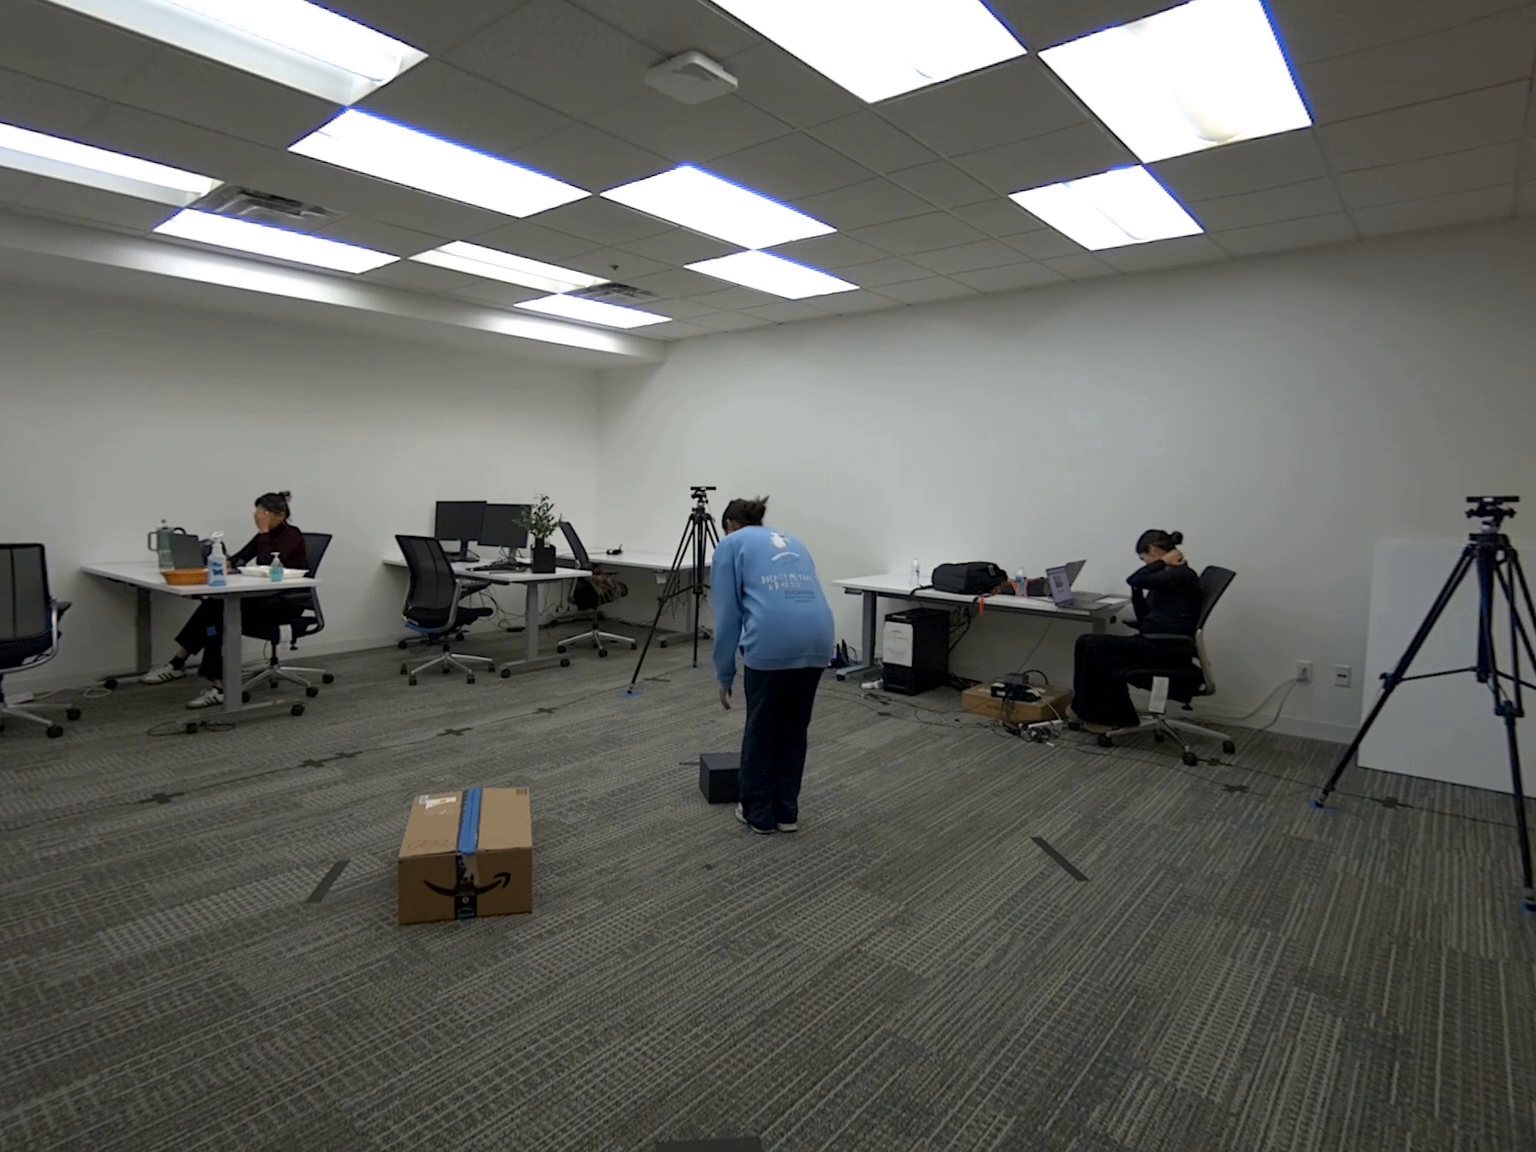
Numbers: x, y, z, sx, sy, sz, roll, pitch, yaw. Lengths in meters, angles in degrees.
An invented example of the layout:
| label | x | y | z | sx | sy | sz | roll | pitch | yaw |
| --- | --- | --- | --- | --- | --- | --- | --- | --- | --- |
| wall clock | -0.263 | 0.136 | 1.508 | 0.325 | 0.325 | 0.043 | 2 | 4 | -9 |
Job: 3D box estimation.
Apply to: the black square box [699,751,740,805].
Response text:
| label | x | y | z | sx | sy | sz | roll | pitch | yaw |
| --- | --- | --- | --- | --- | --- | --- | --- | --- | --- |
| black square box | -0.197 | 0.907 | 3.867 | 0.214 | 0.155 | 0.232 | -1 | 5 | -14 |
